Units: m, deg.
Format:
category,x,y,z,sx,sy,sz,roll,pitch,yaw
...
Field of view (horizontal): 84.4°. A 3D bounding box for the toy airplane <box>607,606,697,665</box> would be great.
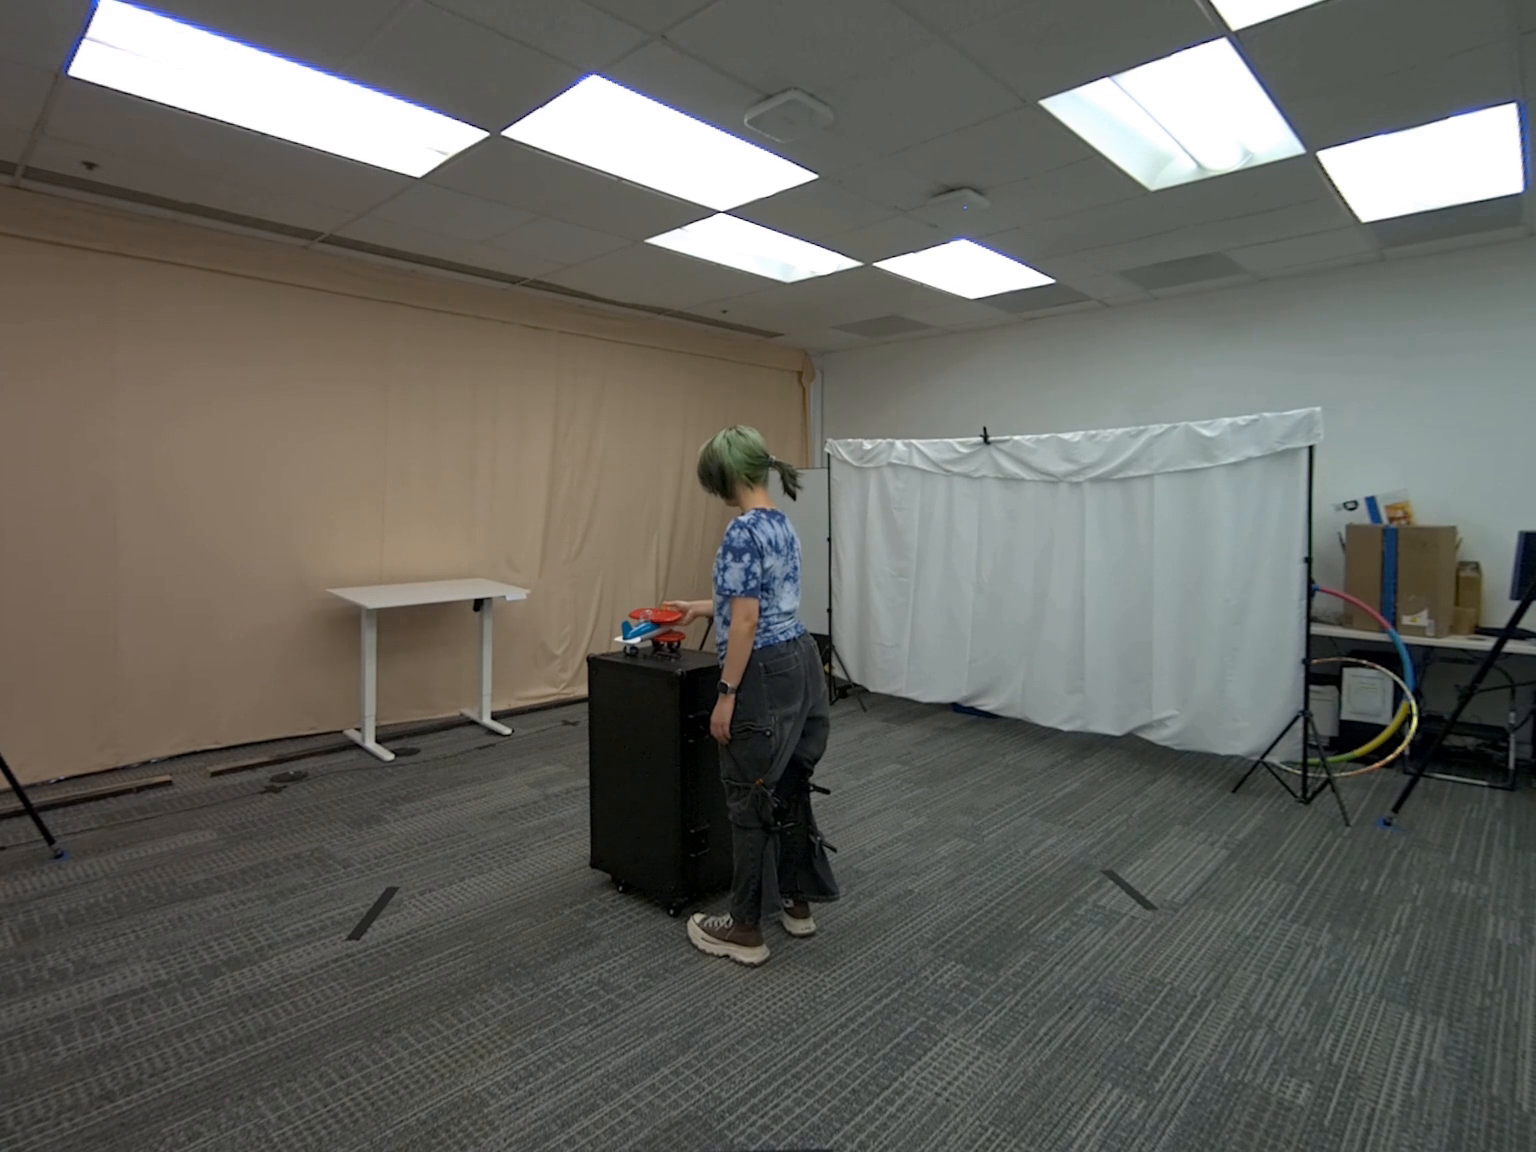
category,x,y,z,sx,sy,sz,roll,pitch,yaw
toy airplane,-0.425,0.213,3.120,0.255,0.156,0.256,3,5,13
